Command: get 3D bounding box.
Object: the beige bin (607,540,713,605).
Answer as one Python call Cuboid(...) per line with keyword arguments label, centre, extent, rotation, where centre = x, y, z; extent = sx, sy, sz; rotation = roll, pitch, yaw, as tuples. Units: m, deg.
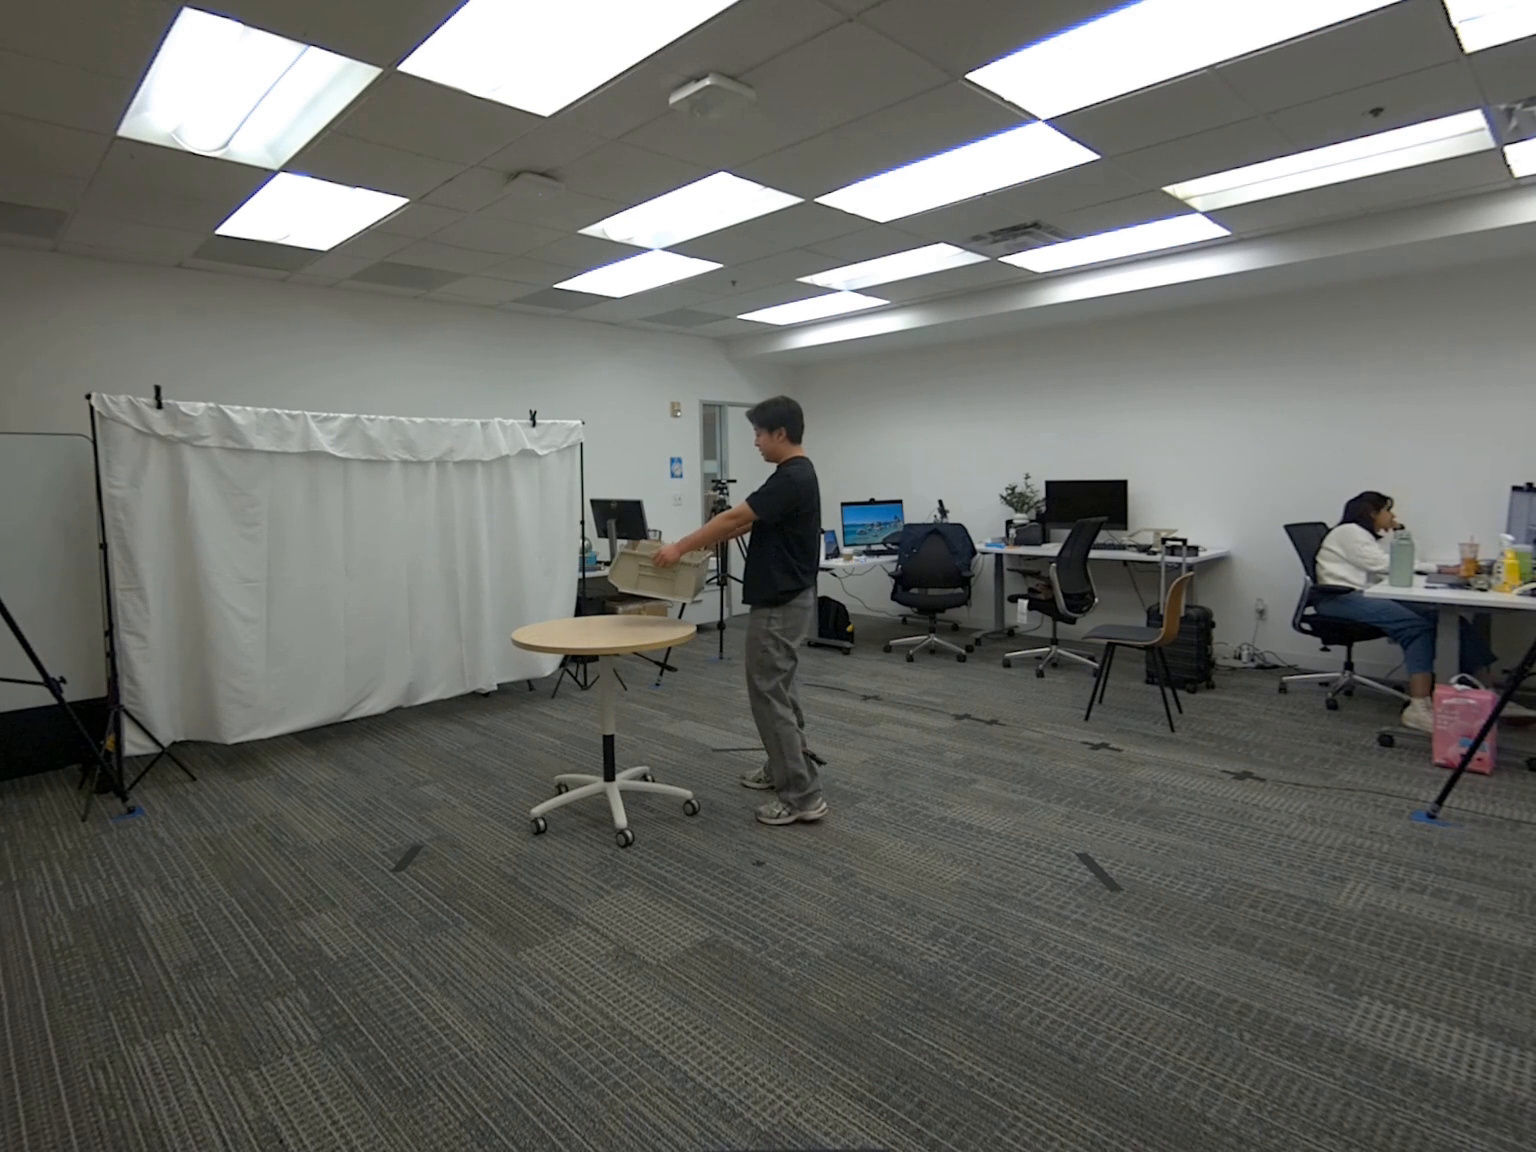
Cuboid(label="beige bin", centre=(-0.469, -0.022, 3.755), extent=(0.378, 0.188, 0.424), rotation=(11, 6, 0))
